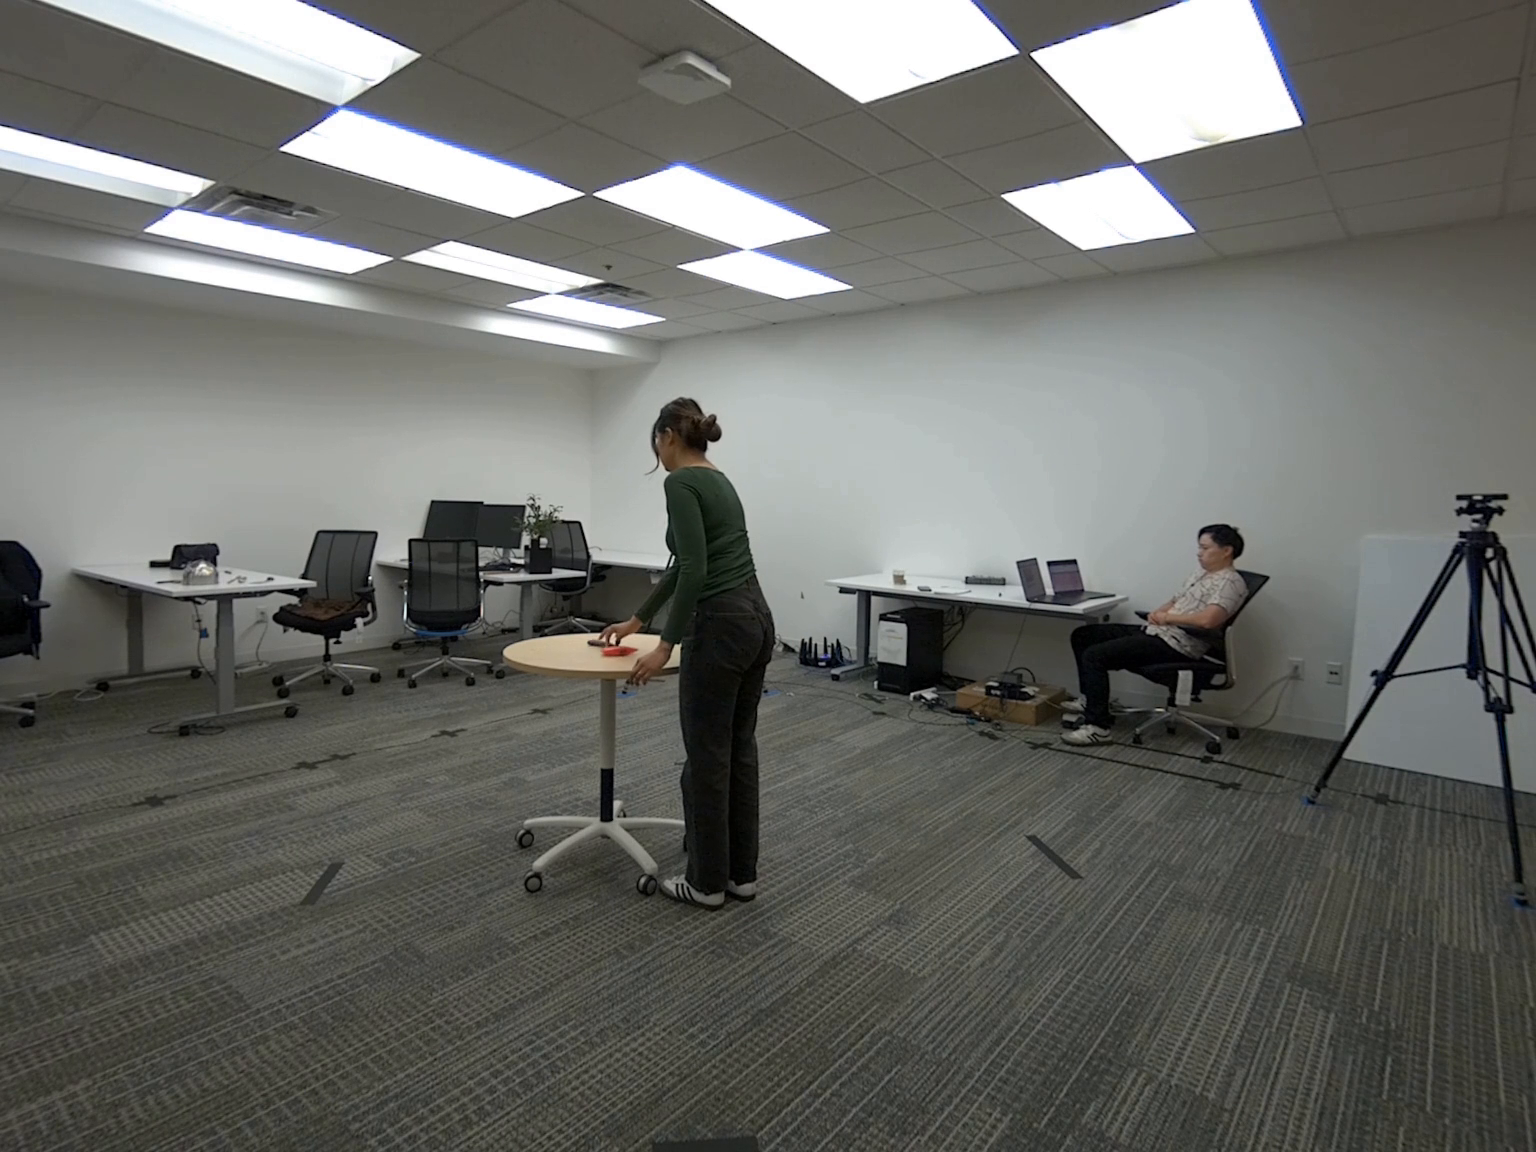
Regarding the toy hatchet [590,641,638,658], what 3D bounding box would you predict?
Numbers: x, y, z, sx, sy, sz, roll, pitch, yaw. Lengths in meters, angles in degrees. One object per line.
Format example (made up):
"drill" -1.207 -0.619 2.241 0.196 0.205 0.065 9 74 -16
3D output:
"toy hatchet" -0.621 0.259 3.155 0.279 0.029 0.127 6 4 44
